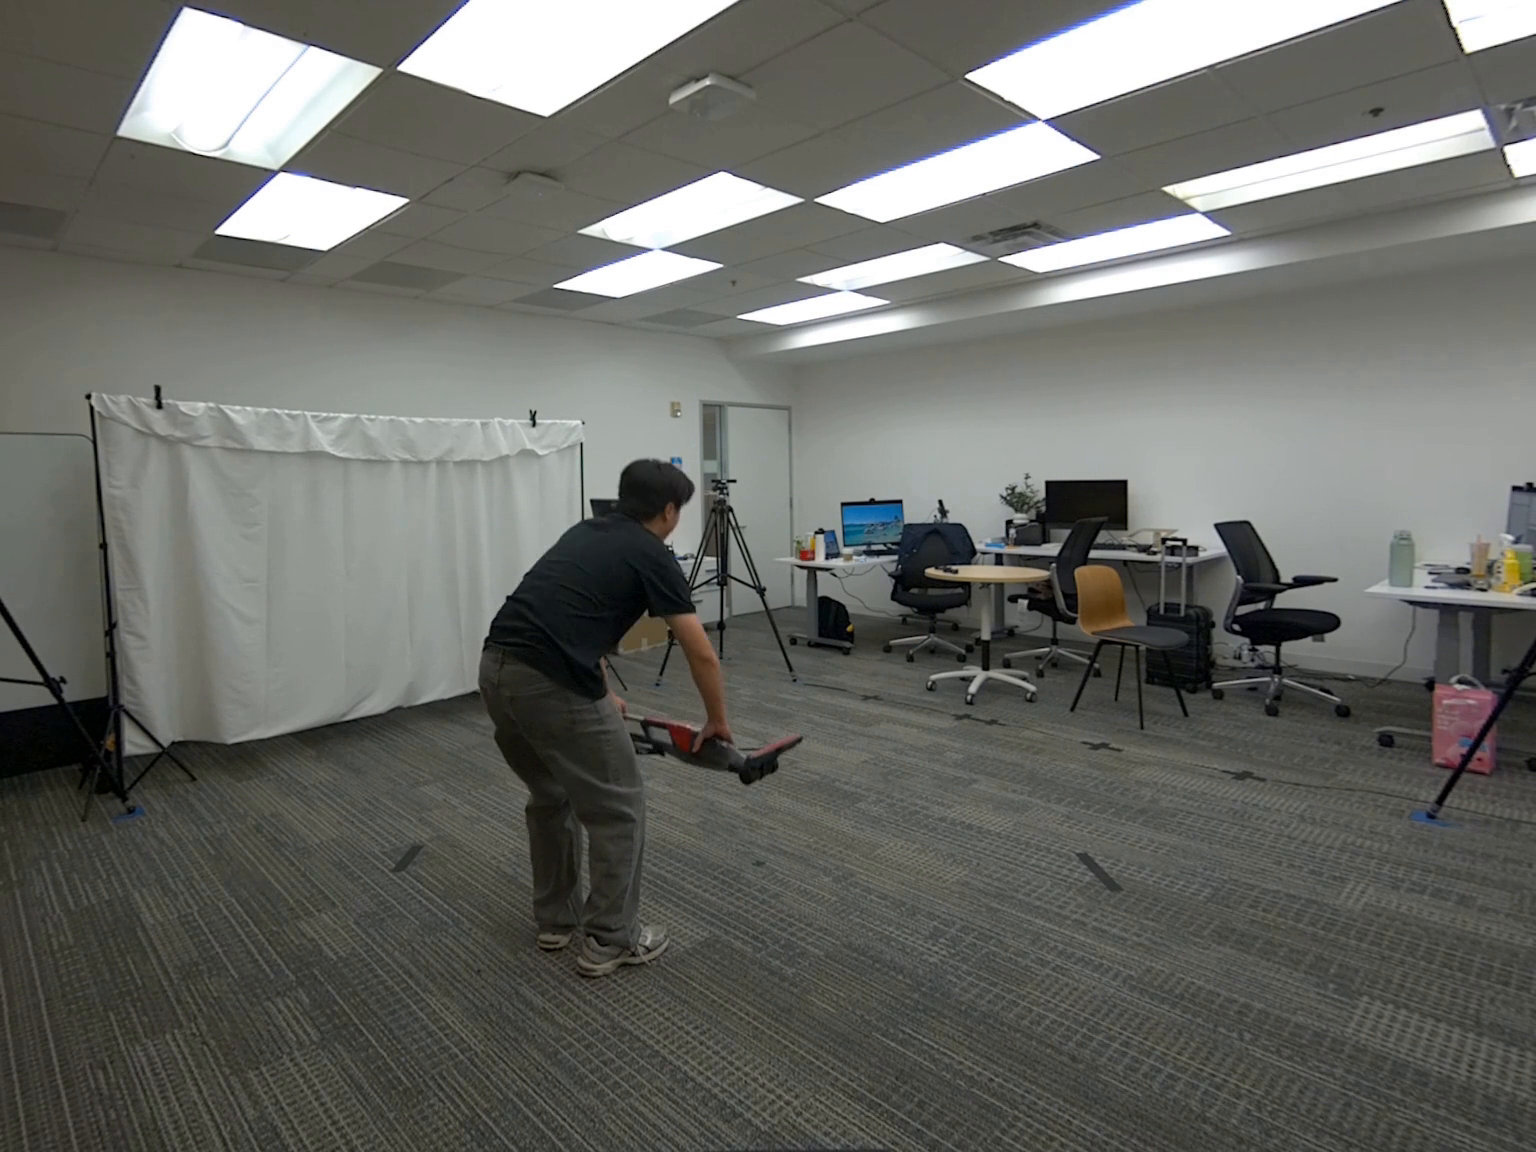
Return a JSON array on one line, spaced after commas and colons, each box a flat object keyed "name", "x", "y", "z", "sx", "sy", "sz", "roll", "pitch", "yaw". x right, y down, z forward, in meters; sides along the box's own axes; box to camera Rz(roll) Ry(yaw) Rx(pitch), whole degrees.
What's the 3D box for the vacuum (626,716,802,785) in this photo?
[{"name": "vacuum", "x": -0.399, "y": 0.543, "z": 2.883, "sx": 1.080, "sy": 0.143, "sz": 0.246, "roll": 1, "pitch": 5, "yaw": 42}]
